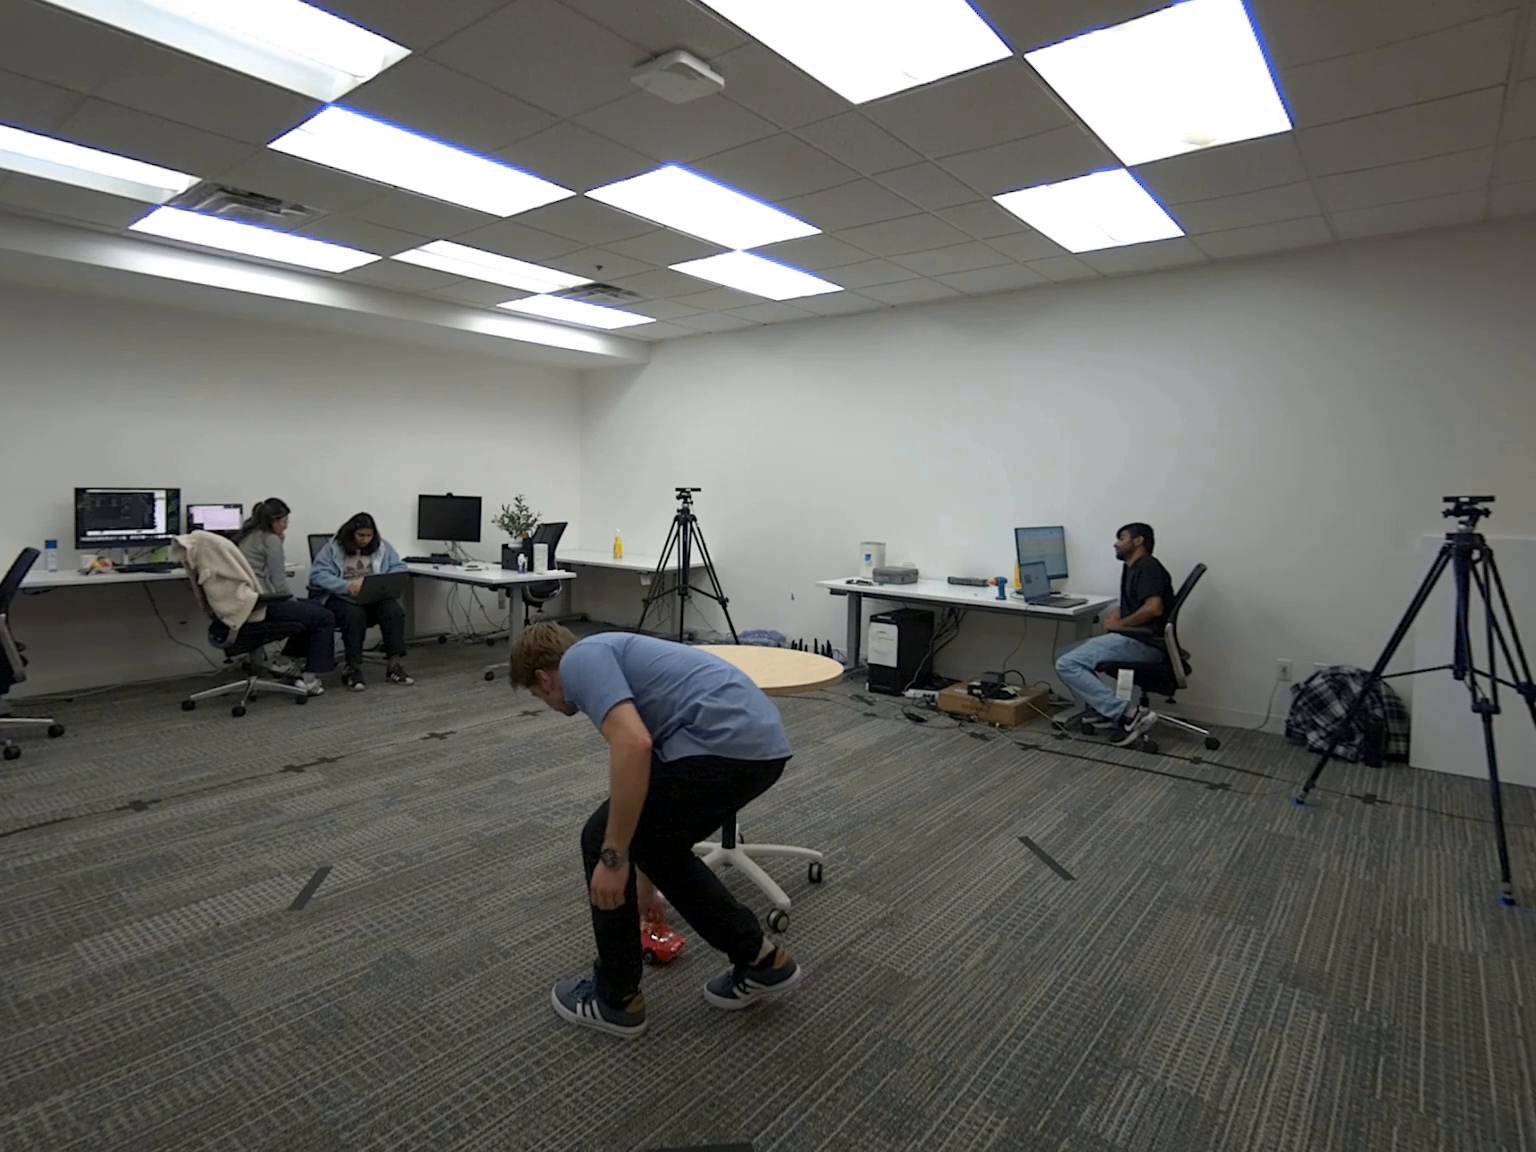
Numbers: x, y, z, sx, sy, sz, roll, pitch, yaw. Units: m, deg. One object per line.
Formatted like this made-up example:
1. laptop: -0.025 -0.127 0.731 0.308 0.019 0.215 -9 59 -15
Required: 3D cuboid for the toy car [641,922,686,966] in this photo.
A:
1. toy car: -0.369 1.090 2.541 0.261 0.083 0.127 -8 1 31
